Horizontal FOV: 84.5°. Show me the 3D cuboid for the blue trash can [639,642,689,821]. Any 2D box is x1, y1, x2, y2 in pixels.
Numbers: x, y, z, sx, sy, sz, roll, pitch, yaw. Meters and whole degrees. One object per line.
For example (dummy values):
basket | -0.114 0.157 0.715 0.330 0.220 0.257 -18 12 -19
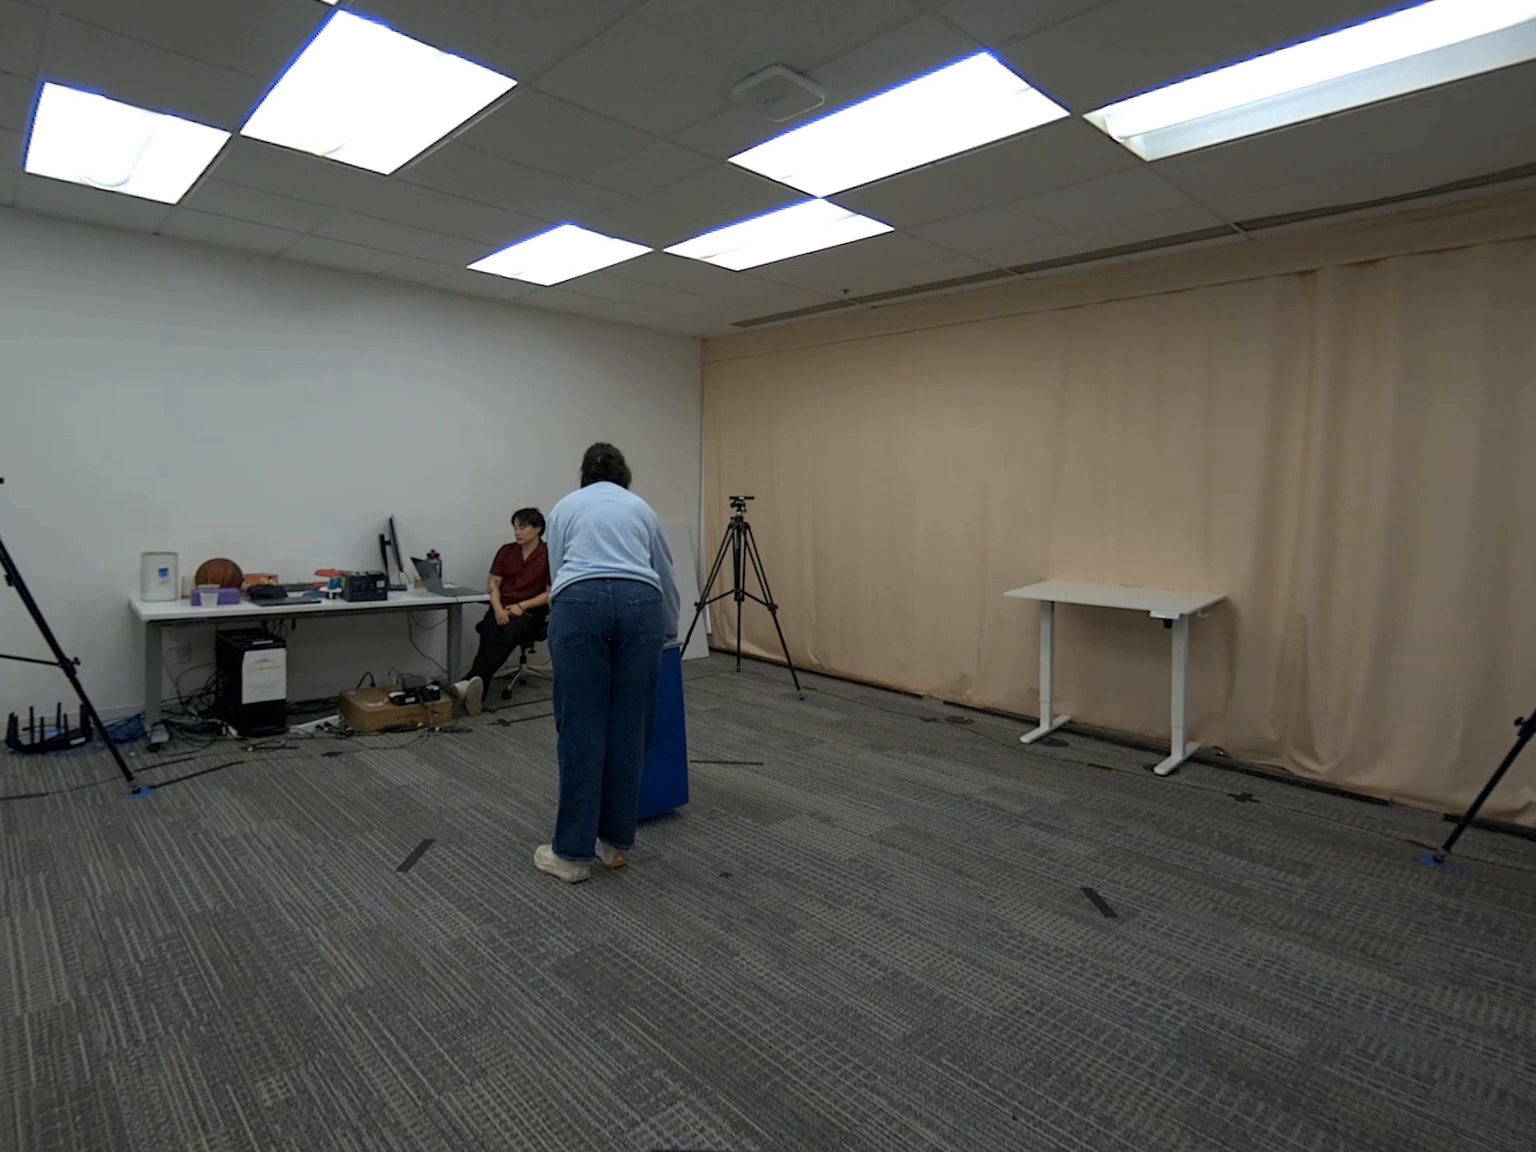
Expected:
blue trash can | -0.591 0.656 3.669 0.366 0.712 0.386 -7 3 -39
